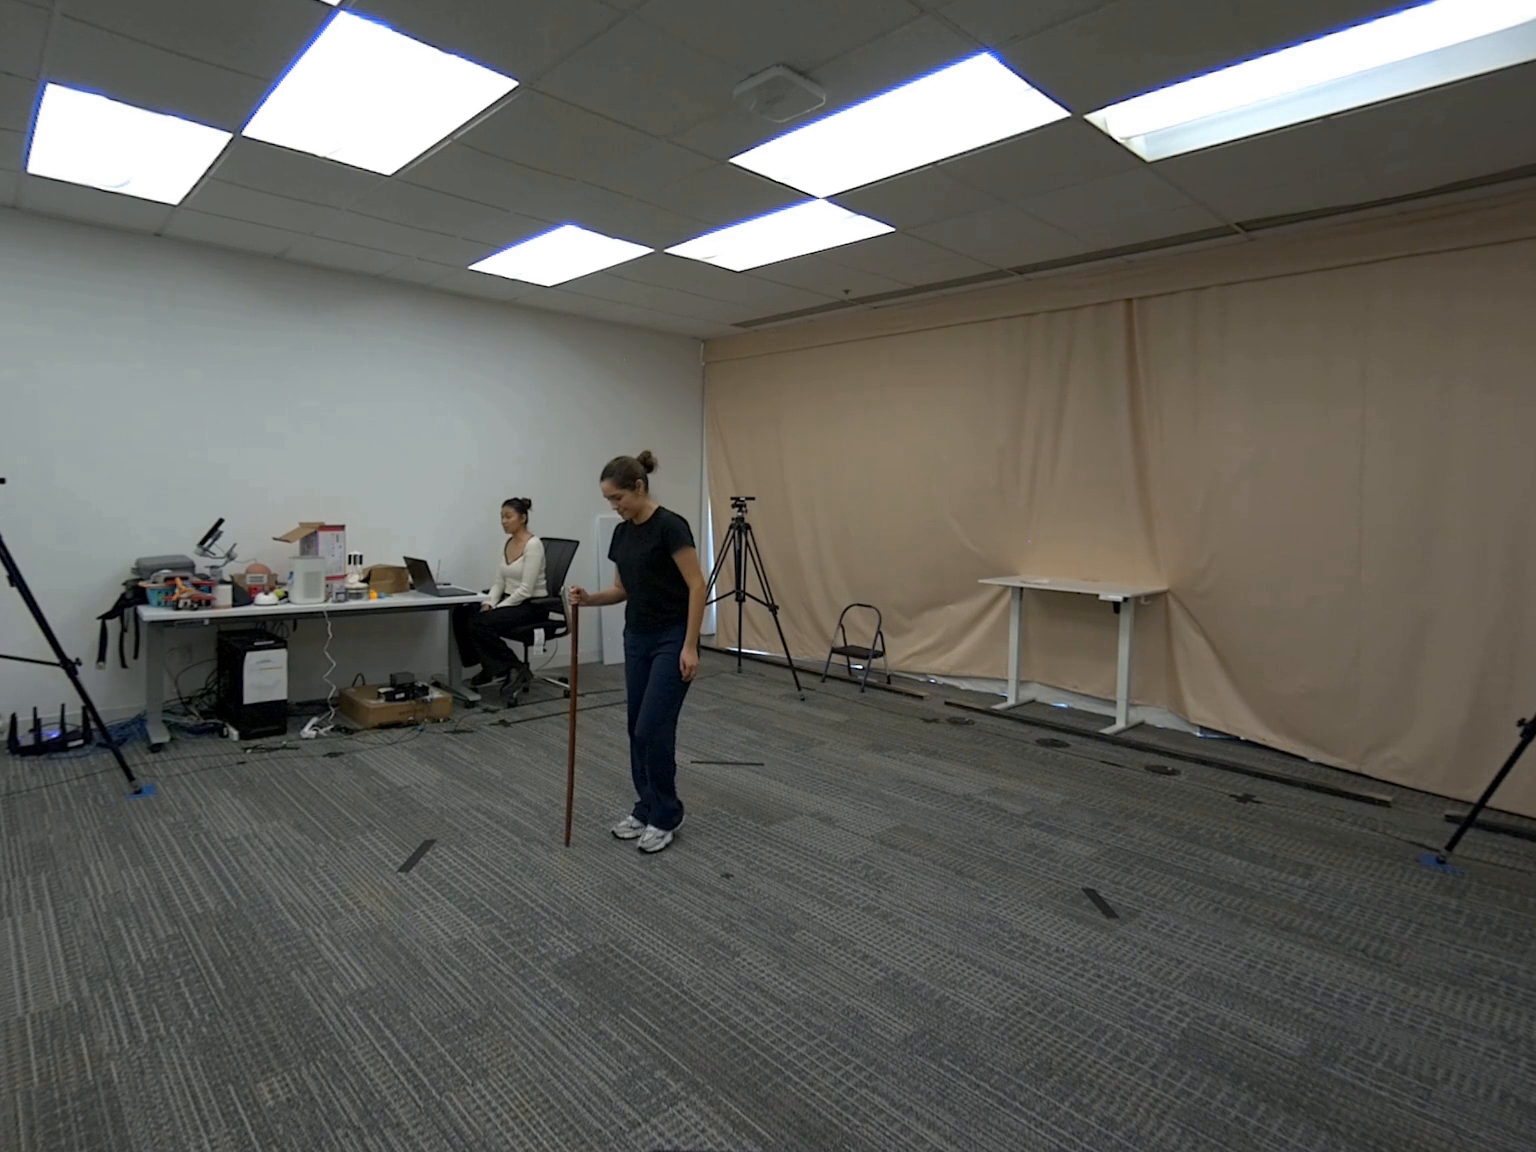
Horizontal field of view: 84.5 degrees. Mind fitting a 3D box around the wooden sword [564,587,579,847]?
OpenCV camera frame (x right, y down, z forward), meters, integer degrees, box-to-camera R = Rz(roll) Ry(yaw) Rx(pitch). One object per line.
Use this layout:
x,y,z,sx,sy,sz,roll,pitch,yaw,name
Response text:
-0.788,0.561,3.341,0.050,1.025,0.024,1,-1,-29,wooden sword
